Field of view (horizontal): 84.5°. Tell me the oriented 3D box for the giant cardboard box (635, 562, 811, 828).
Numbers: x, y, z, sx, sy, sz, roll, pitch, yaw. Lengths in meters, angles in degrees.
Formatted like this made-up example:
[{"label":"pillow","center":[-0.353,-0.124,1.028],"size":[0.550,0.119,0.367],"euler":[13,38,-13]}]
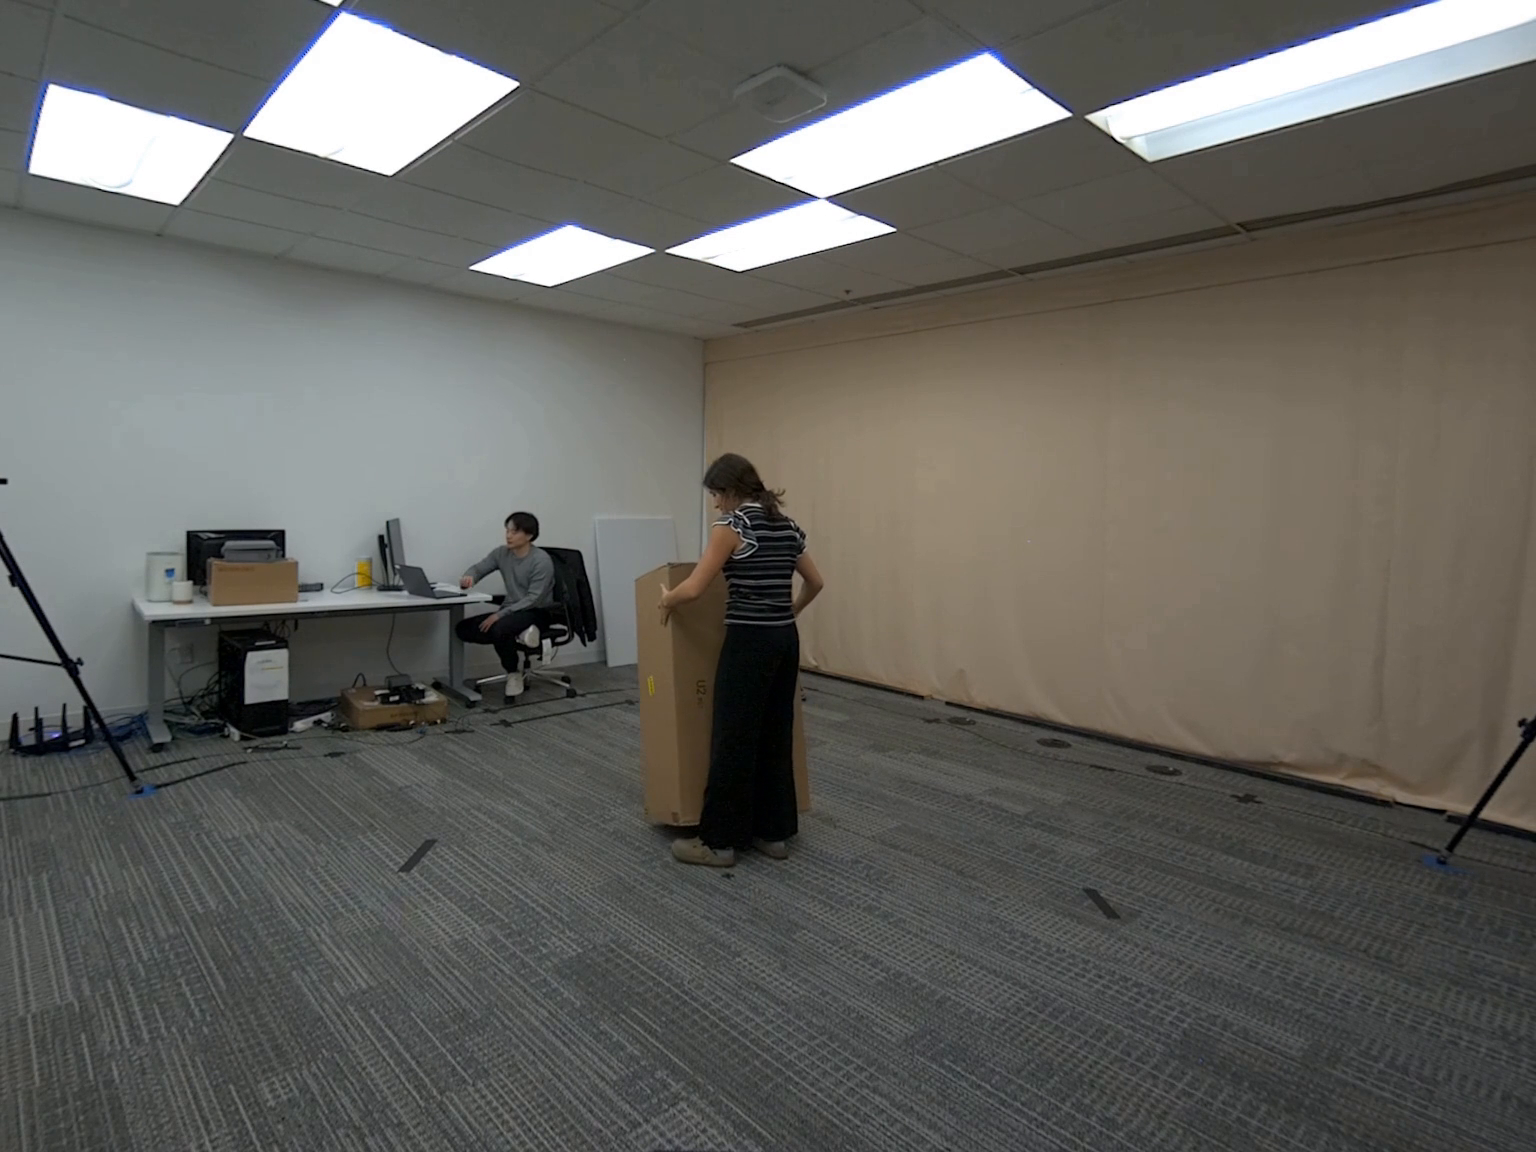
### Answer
[{"label":"giant cardboard box","center":[-0.230,0.489,3.598],"size":[0.566,1.035,0.430],"euler":[2,-12,-26]}]
